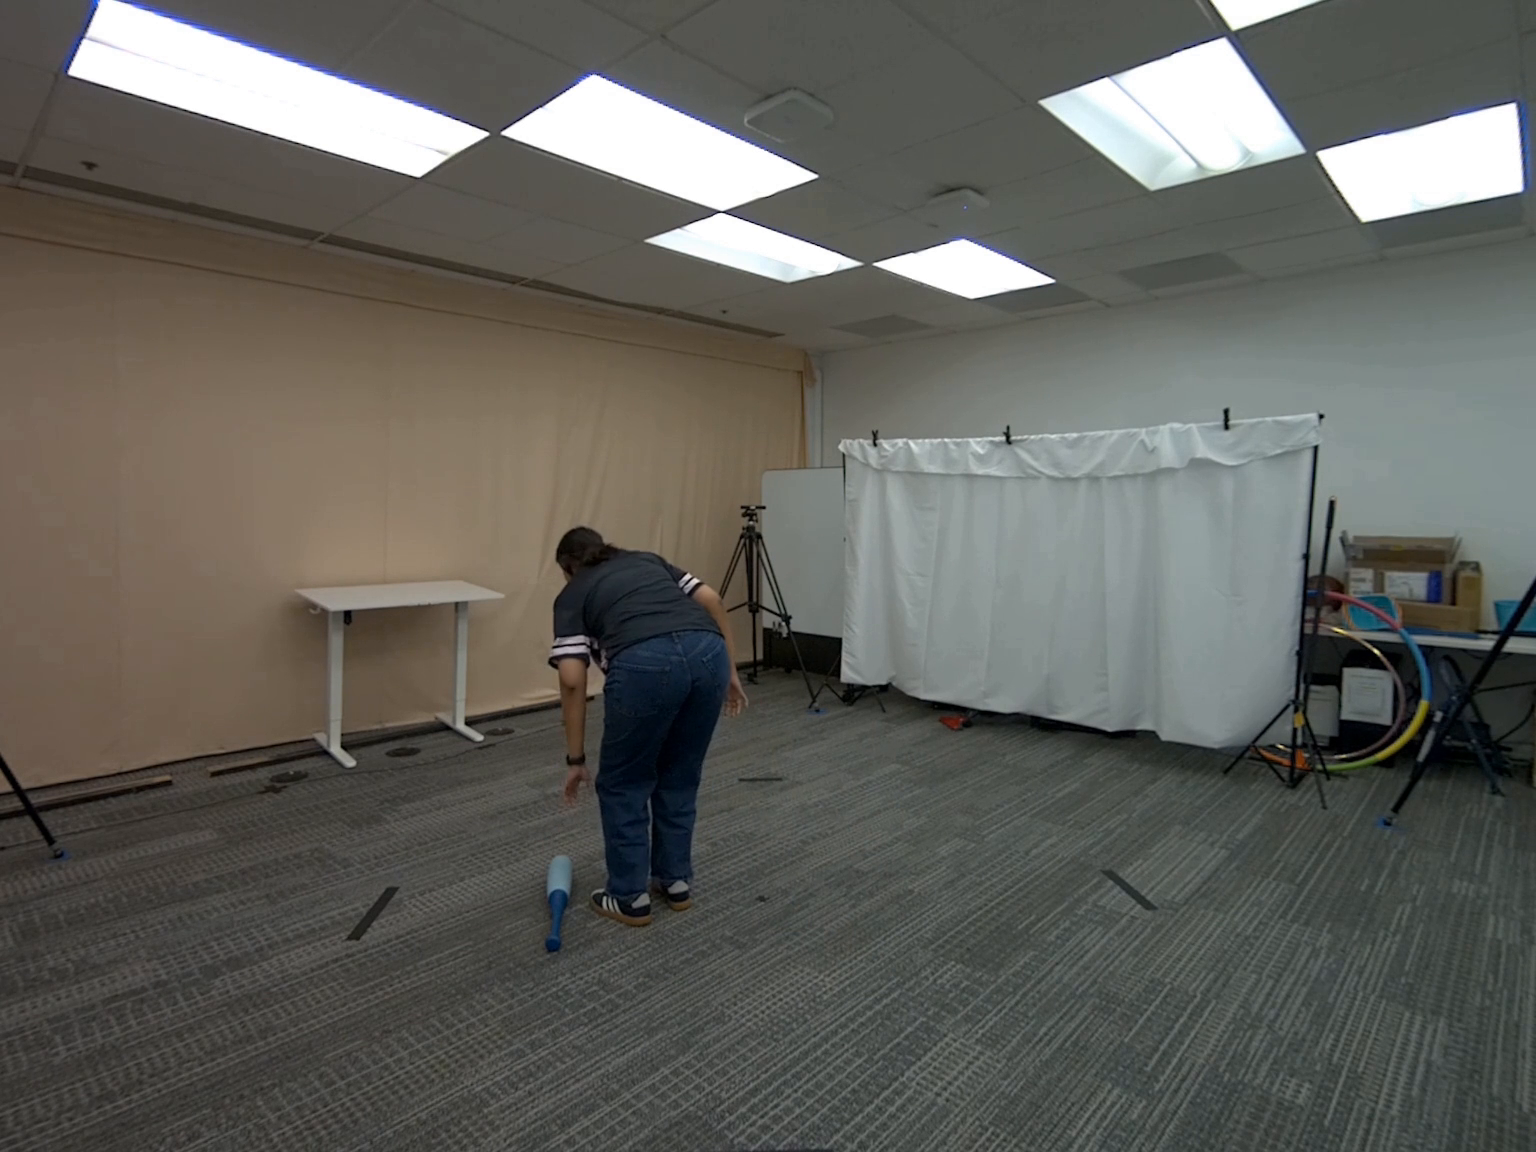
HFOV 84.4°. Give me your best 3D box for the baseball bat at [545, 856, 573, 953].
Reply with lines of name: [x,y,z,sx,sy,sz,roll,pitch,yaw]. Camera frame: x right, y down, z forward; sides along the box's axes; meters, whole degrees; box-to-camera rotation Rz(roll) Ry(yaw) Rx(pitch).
baseball bat: [-0.707,1.123,2.890,0.088,0.089,0.551,-1,7,-12]
